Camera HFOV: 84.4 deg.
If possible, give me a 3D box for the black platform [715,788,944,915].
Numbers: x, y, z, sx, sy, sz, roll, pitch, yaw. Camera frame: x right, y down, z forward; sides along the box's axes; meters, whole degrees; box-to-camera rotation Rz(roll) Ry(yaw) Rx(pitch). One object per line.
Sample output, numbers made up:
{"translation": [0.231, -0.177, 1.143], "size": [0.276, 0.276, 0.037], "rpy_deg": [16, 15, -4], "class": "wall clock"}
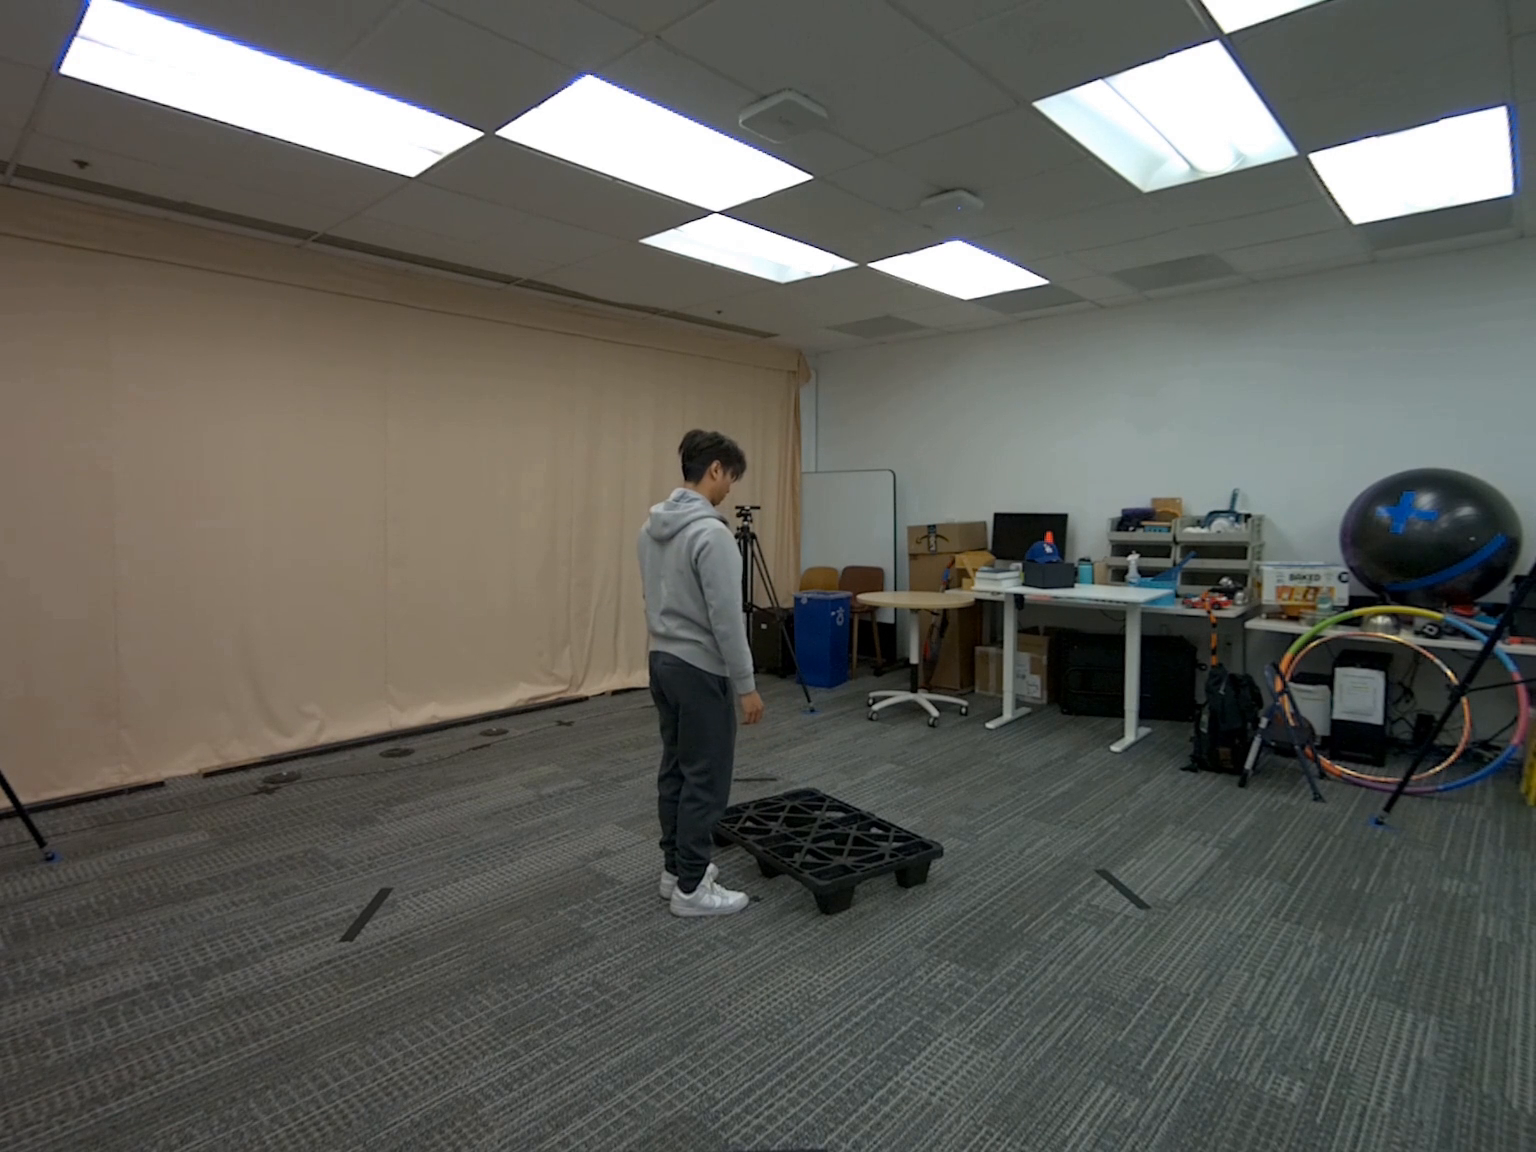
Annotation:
{"translation": [0.183, 1.052, 3.278], "size": [0.588, 0.143, 0.831], "rpy_deg": [-4, 6, -34], "class": "black platform"}
